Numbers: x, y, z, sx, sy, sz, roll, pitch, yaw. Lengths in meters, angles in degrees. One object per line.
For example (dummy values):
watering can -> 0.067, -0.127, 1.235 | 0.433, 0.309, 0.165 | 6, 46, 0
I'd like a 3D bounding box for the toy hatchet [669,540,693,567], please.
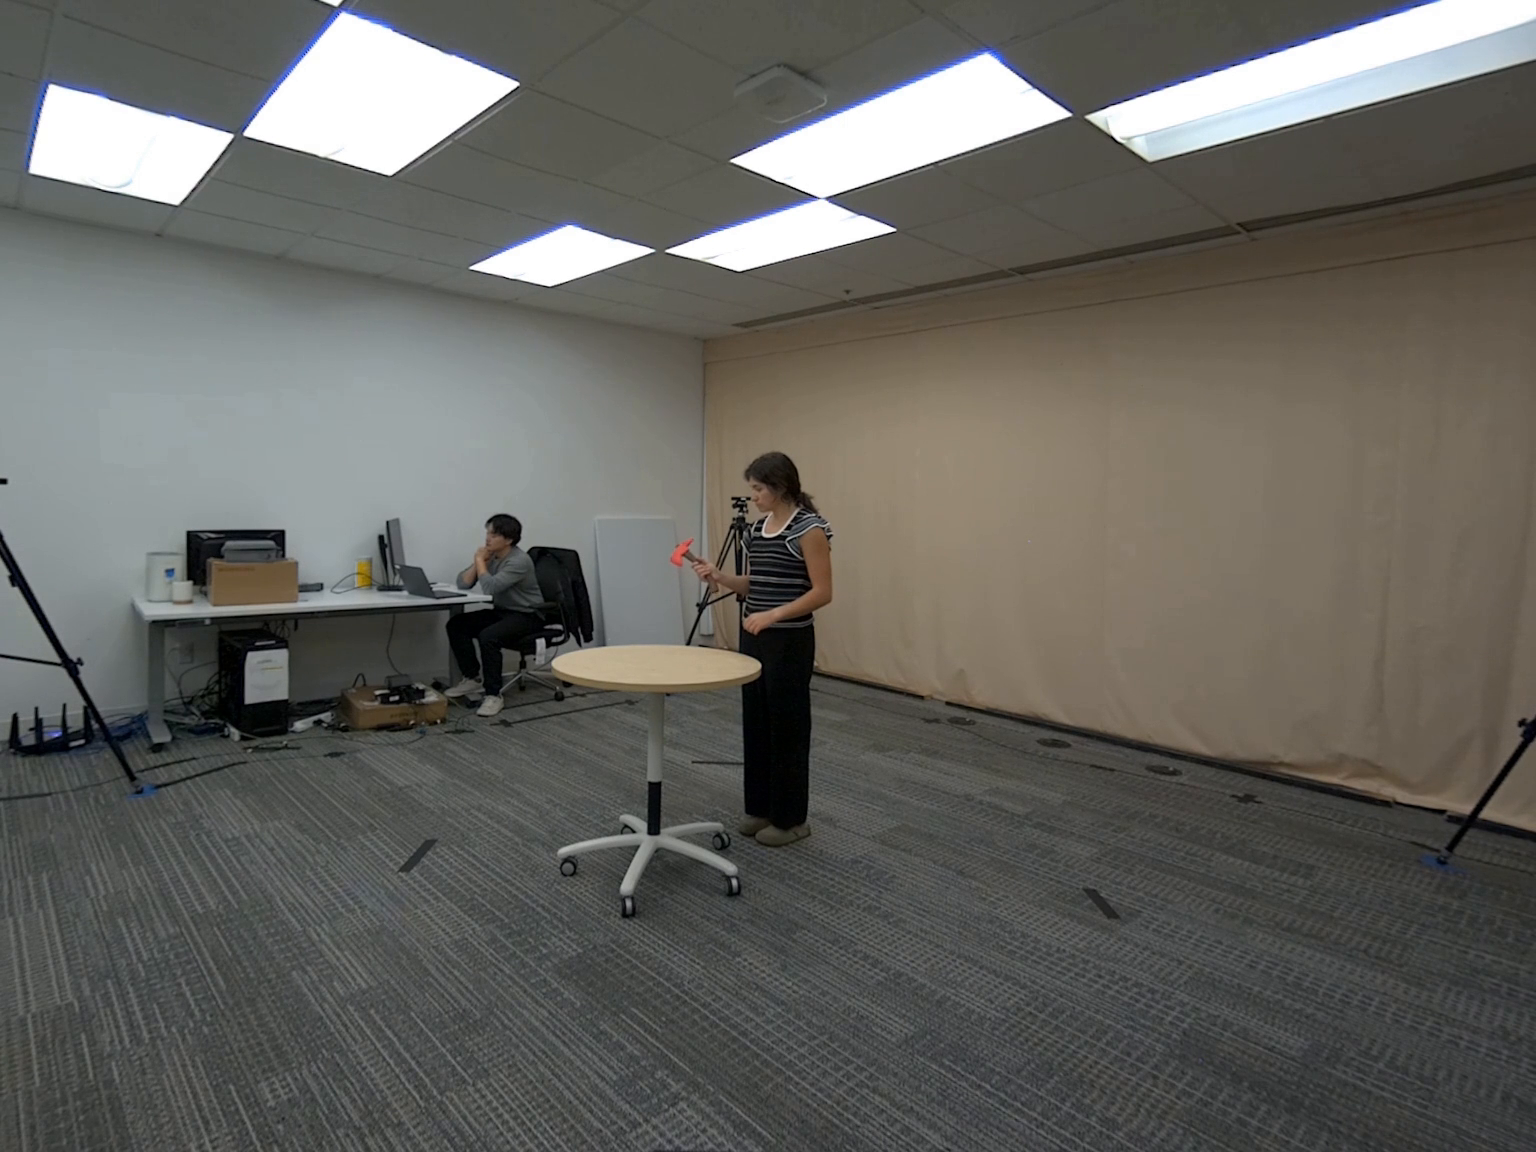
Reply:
toy hatchet -> -0.309, -0.024, 3.498 | 0.131, 0.276, 0.029 | -28, -21, -7
